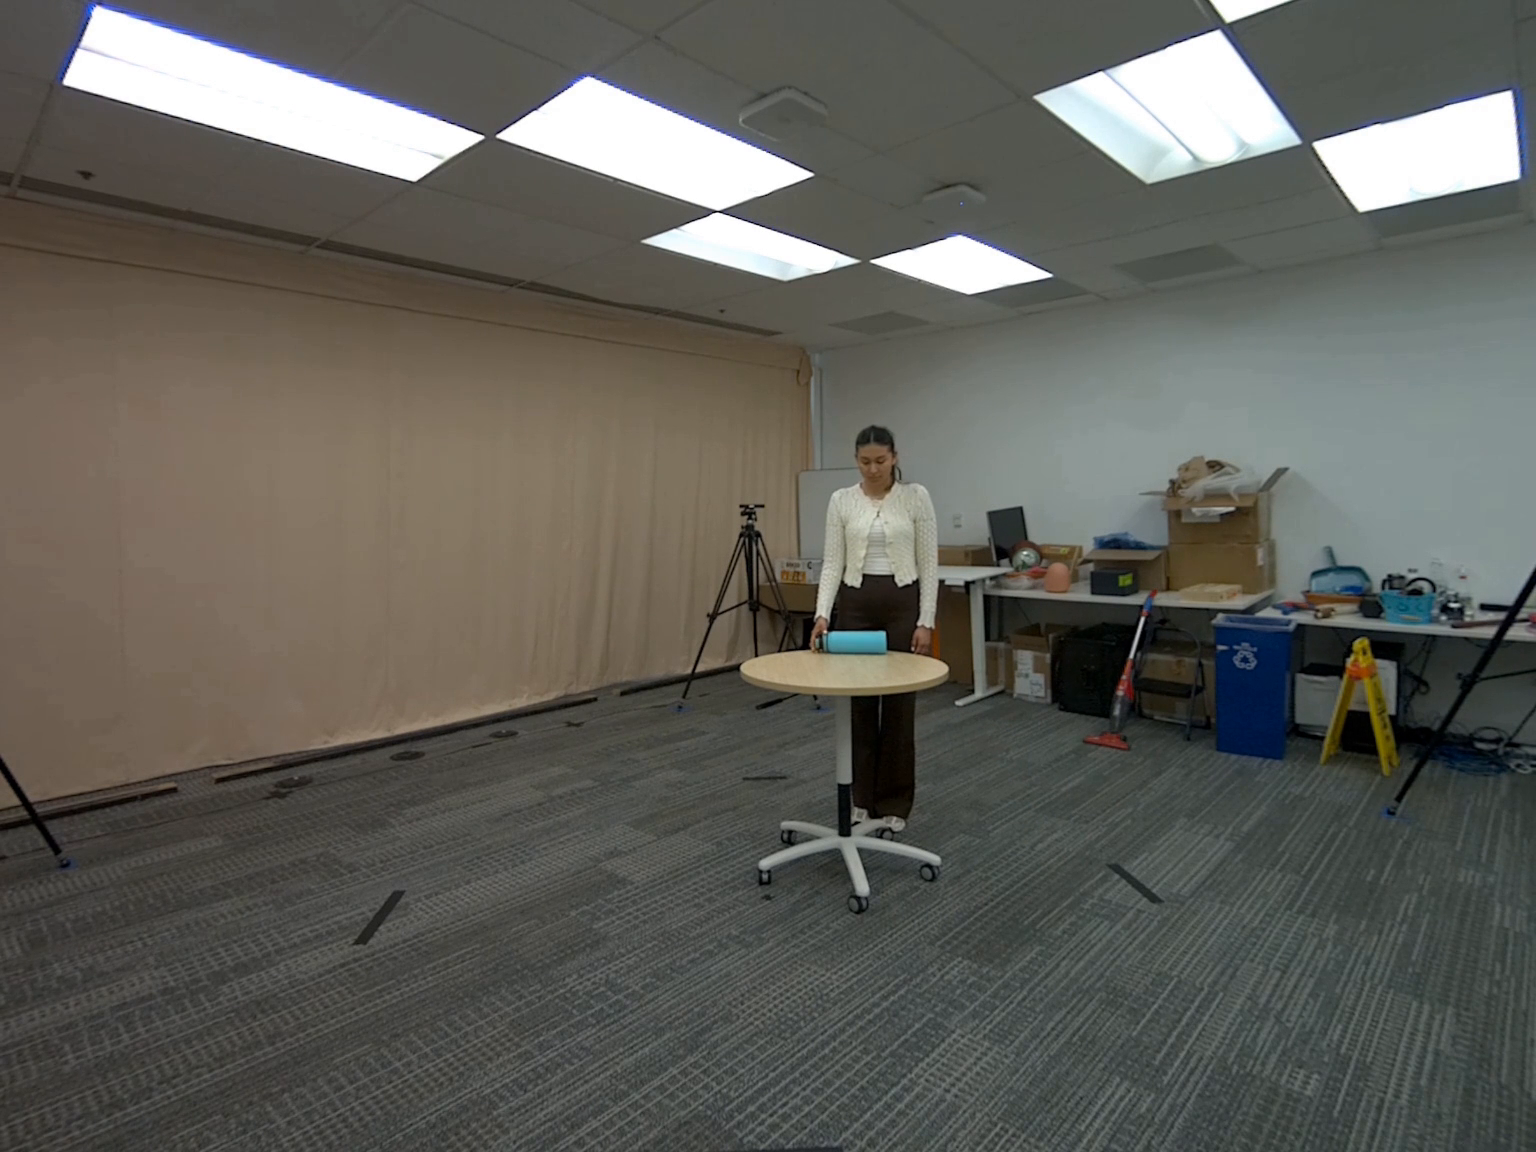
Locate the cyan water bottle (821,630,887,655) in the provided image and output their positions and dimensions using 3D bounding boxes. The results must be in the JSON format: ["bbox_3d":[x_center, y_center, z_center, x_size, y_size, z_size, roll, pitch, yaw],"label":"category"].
[{"bbox_3d":[0.352,0.269,3.425,0.286,0.092,0.091,-2,4,9],"label":"cyan water bottle"}]
